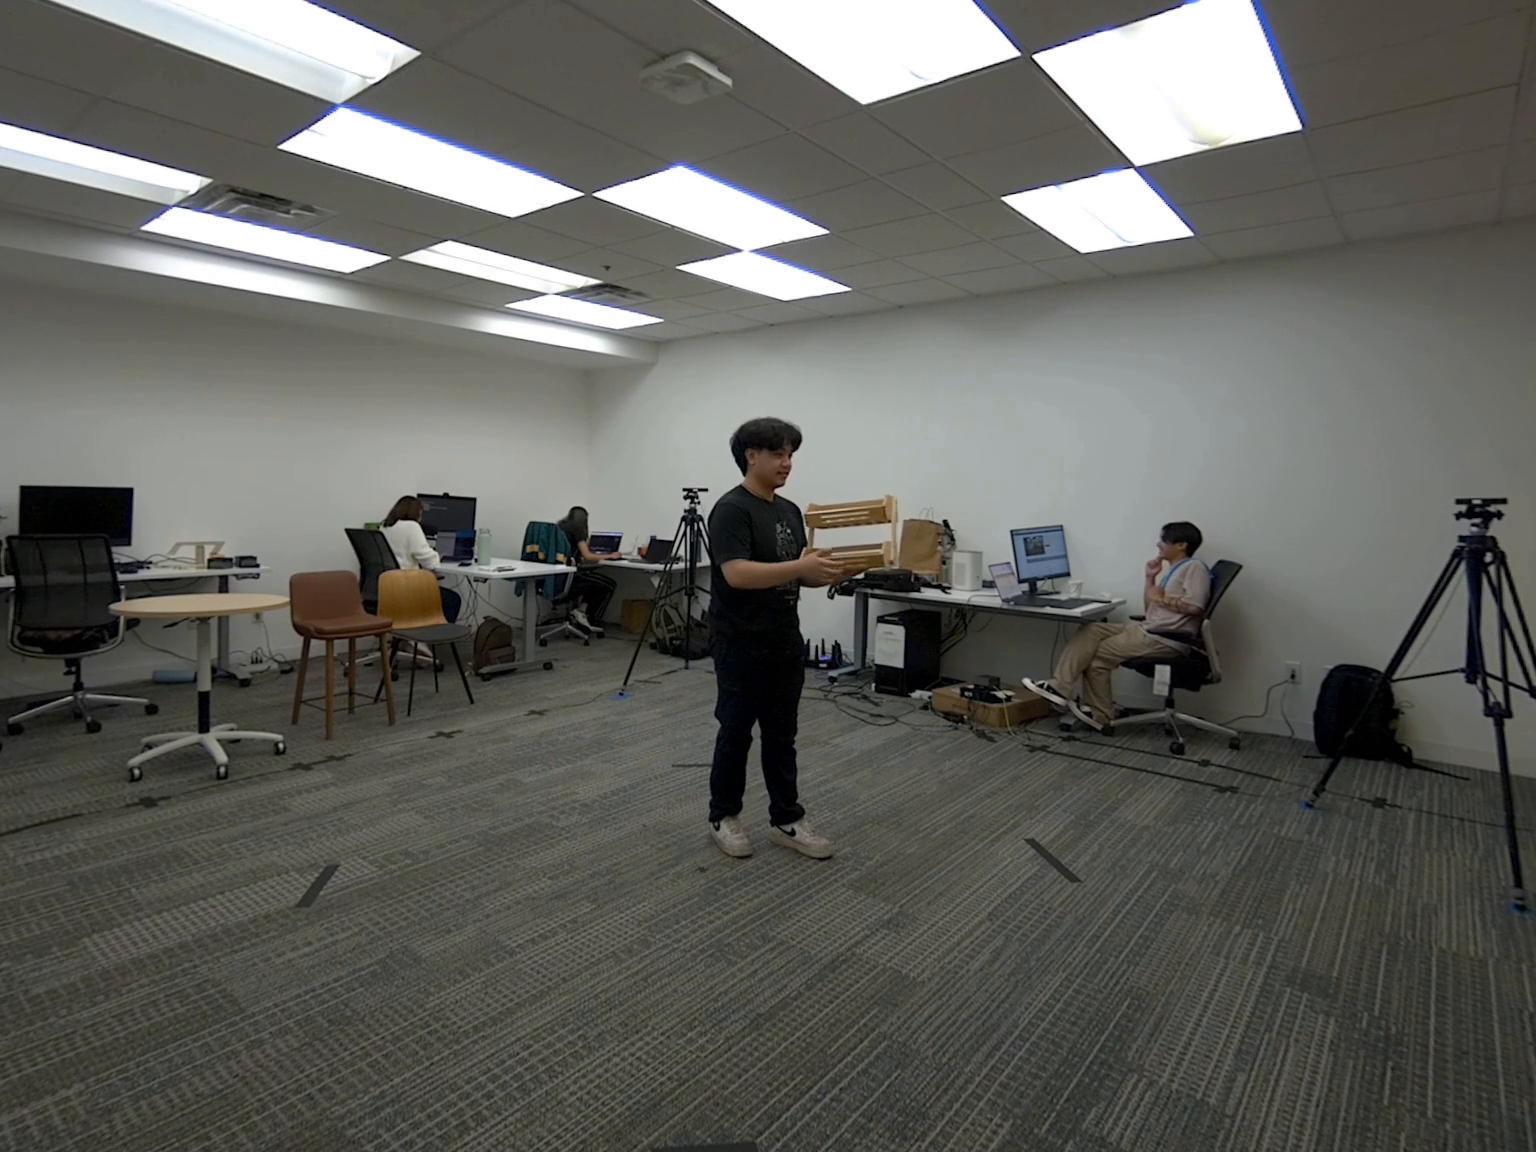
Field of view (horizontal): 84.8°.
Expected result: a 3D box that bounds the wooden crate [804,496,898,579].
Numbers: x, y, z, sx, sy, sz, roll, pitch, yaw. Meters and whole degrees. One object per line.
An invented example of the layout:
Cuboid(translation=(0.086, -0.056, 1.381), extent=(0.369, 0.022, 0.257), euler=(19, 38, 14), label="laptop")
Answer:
Cuboid(translation=(0.280, -0.159, 3.103), extent=(0.331, 0.274, 0.295), euler=(-5, -3, 22), label="wooden crate")
